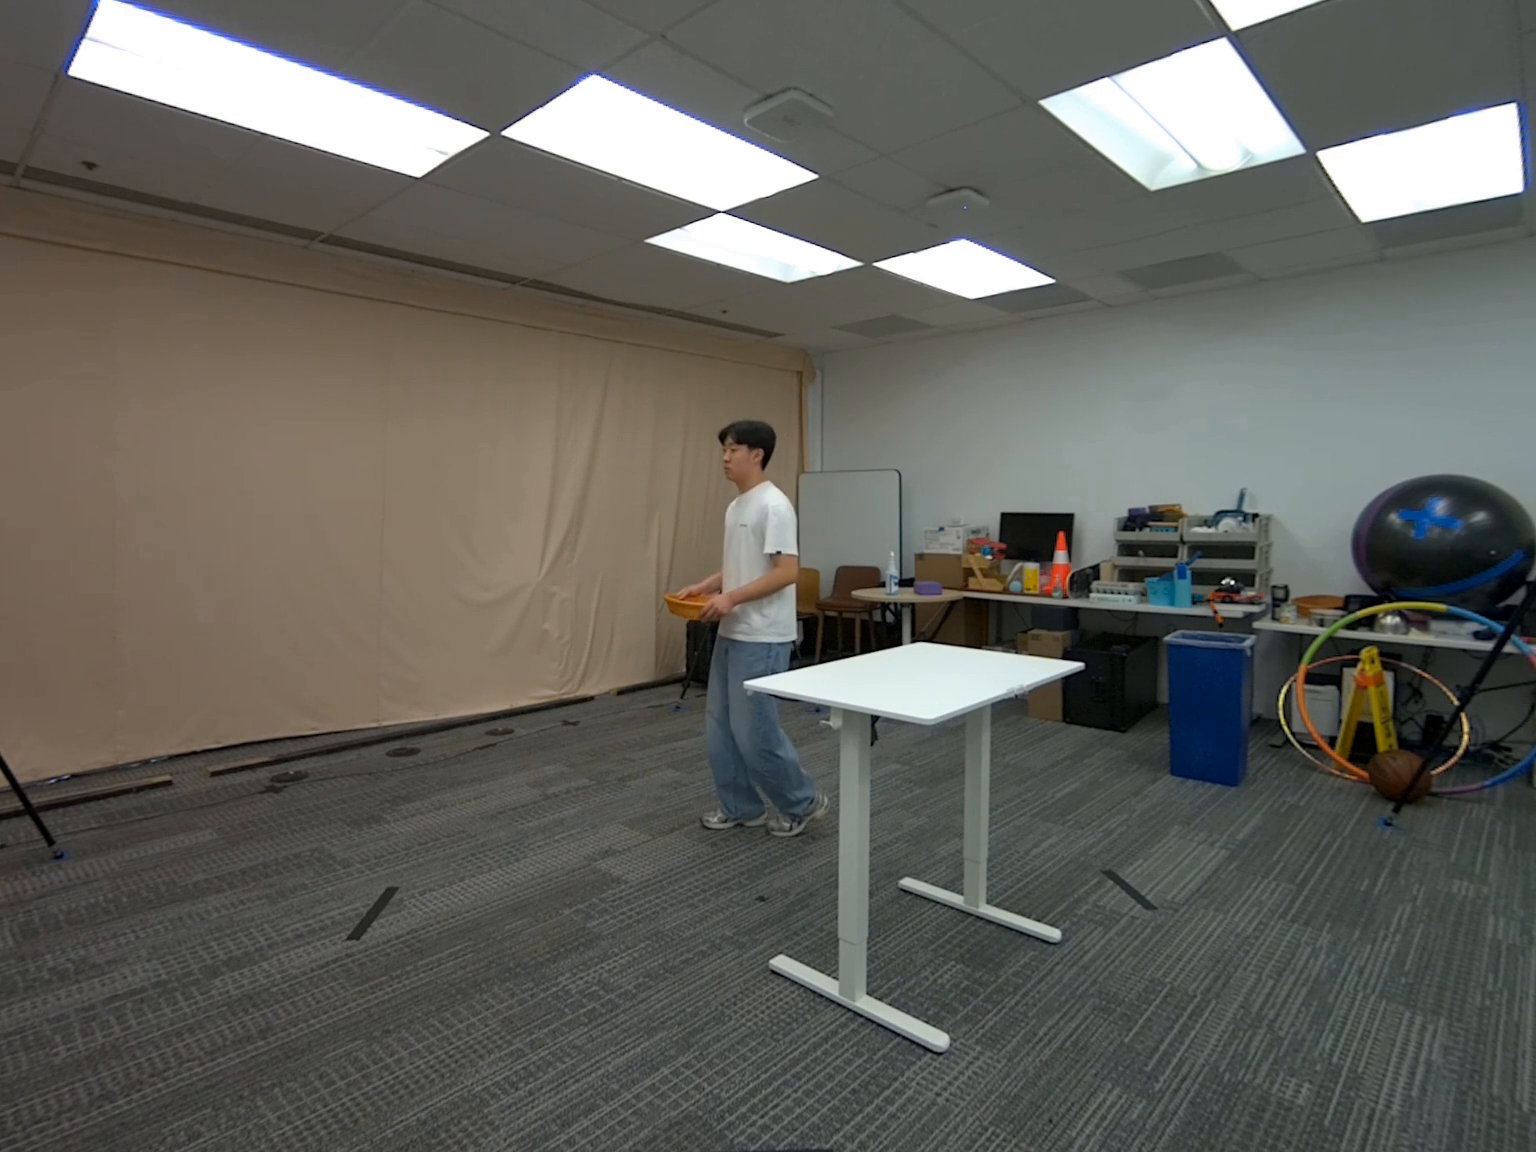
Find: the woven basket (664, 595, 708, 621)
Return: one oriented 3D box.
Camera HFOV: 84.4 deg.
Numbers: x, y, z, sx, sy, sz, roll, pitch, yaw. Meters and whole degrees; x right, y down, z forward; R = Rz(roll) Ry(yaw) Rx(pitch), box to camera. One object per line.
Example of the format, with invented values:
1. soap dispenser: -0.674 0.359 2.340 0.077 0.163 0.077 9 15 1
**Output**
1. woven basket: -0.281 0.138 3.512 0.247 0.073 0.358 5 3 -21
